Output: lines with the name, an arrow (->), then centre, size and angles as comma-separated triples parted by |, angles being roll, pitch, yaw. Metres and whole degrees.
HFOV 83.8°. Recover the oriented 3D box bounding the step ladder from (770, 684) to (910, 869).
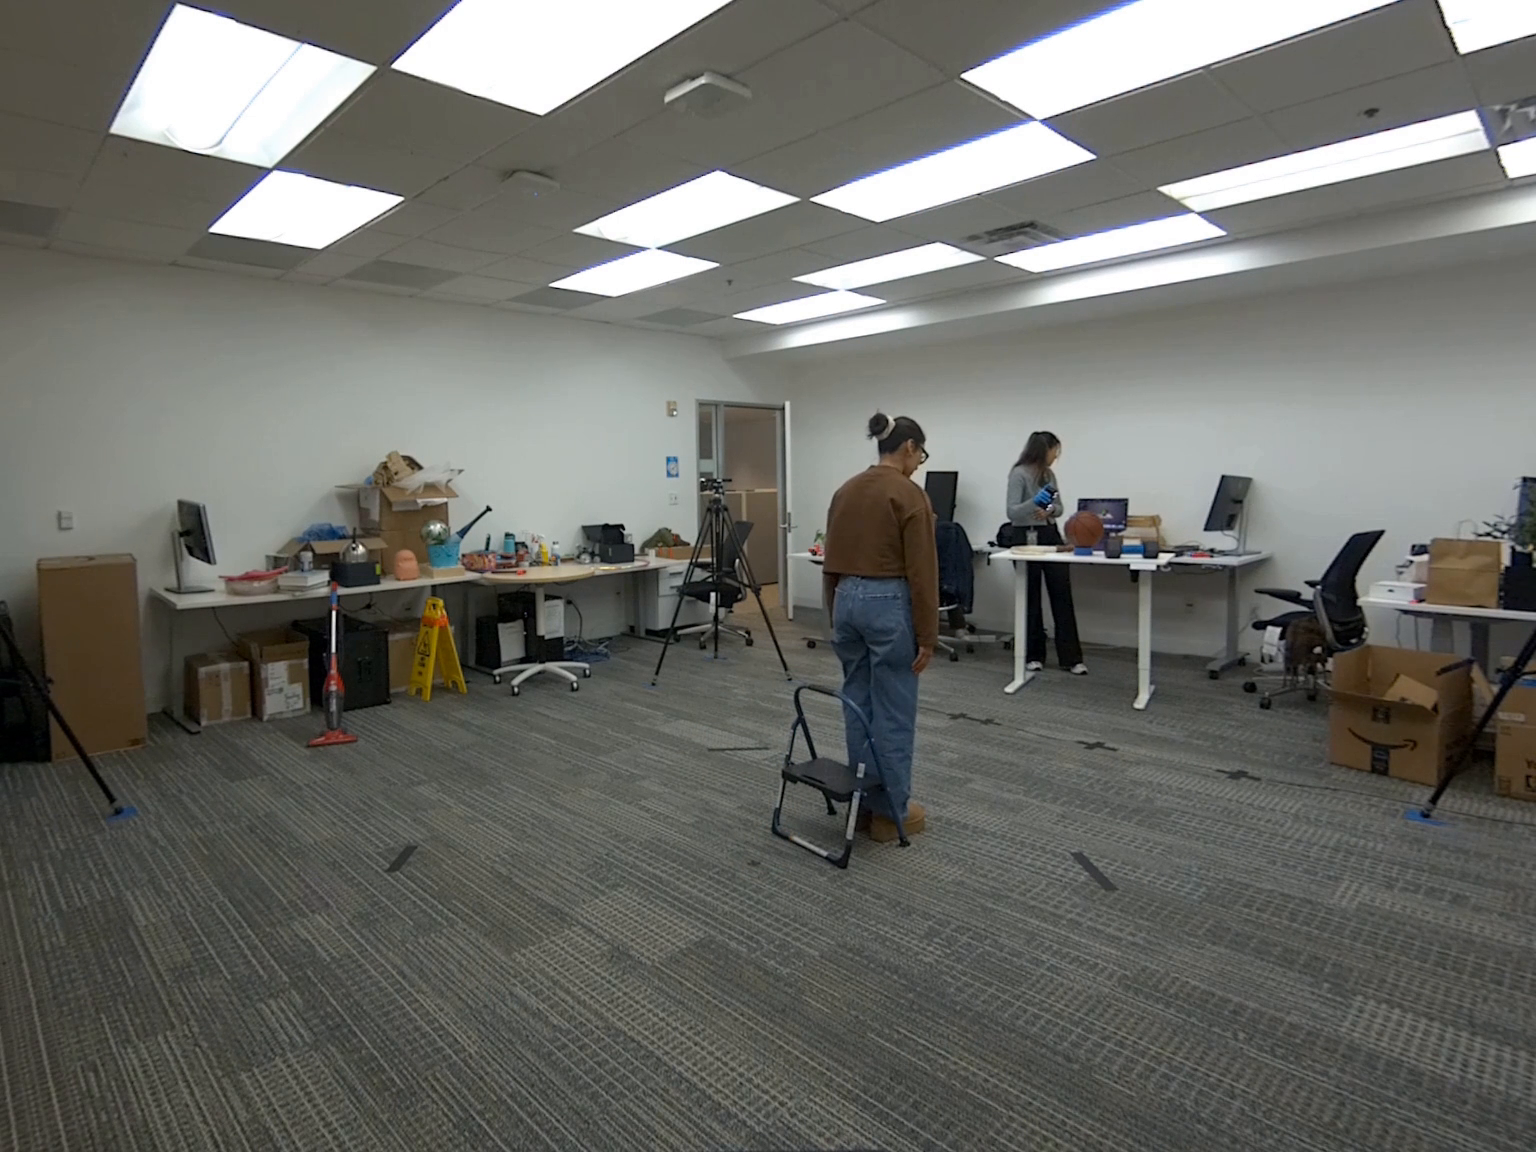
step ladder -> 0.267, 0.716, 3.284 | 0.340, 0.604, 0.444 | -4, 6, -39
